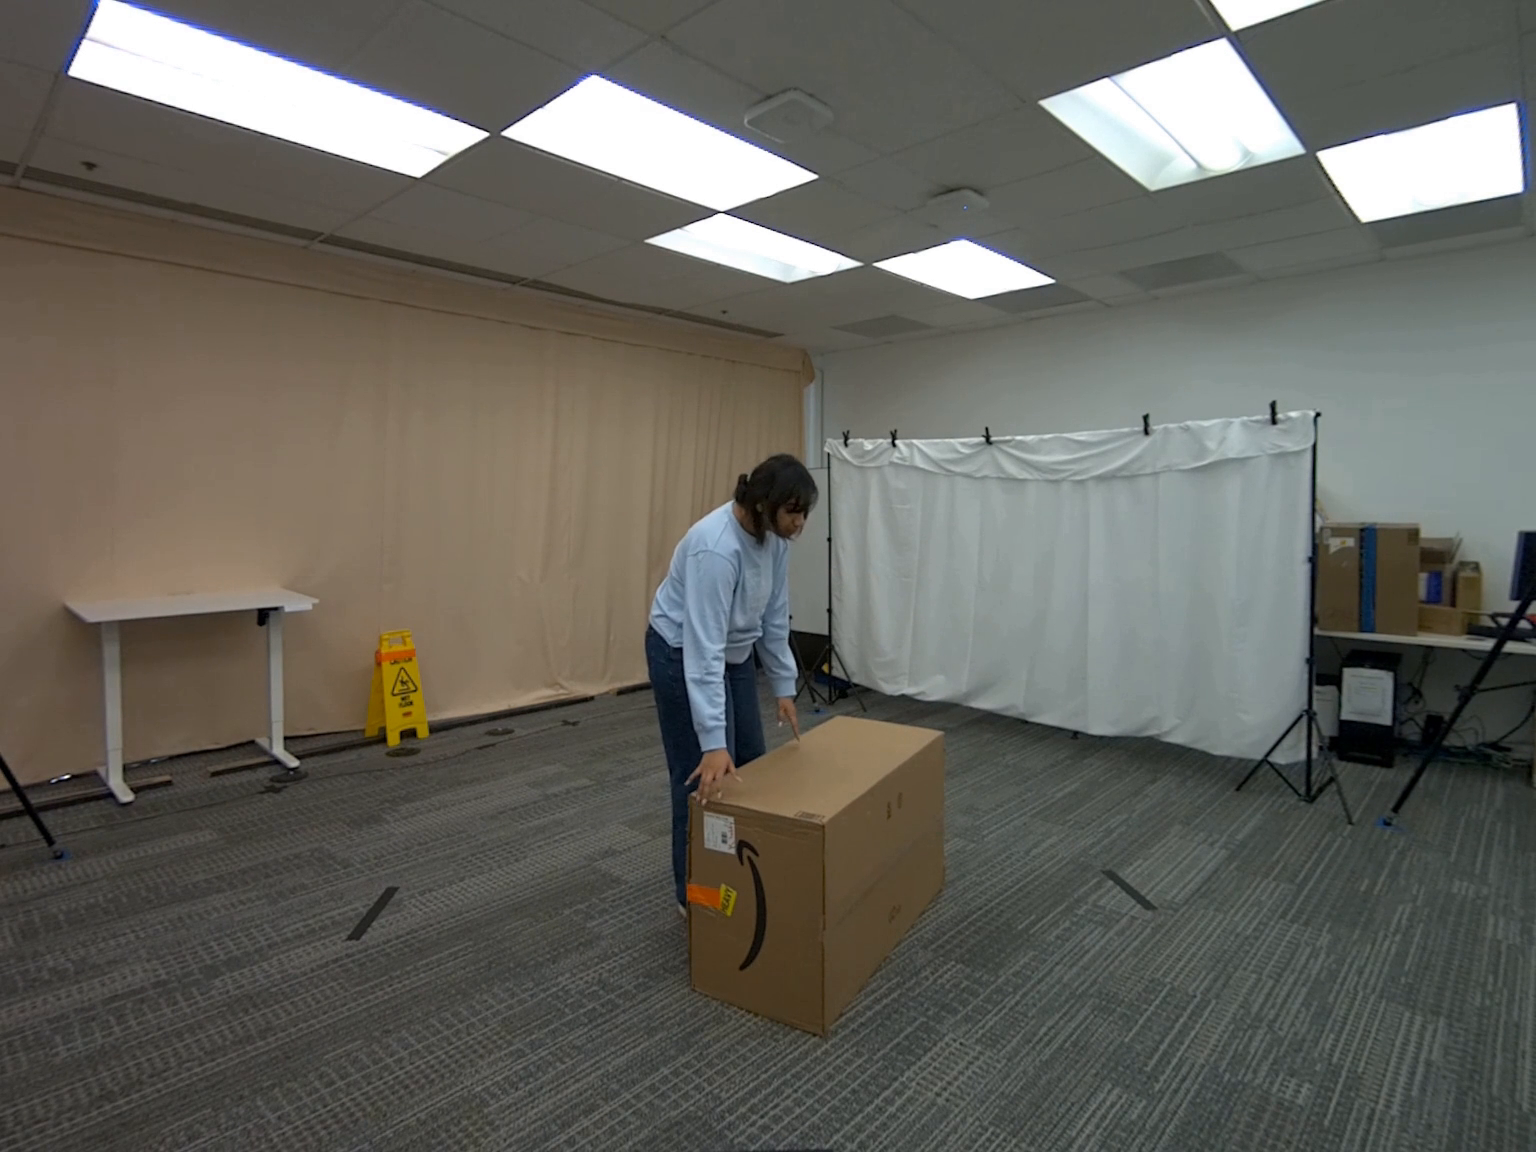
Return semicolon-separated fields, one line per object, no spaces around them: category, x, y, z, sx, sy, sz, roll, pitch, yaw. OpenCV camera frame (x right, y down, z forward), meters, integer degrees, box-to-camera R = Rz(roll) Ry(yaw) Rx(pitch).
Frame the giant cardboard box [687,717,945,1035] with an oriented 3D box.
giant cardboard box;0.211;0.878;2.724;0.460;0.582;1.000;3;5;30
